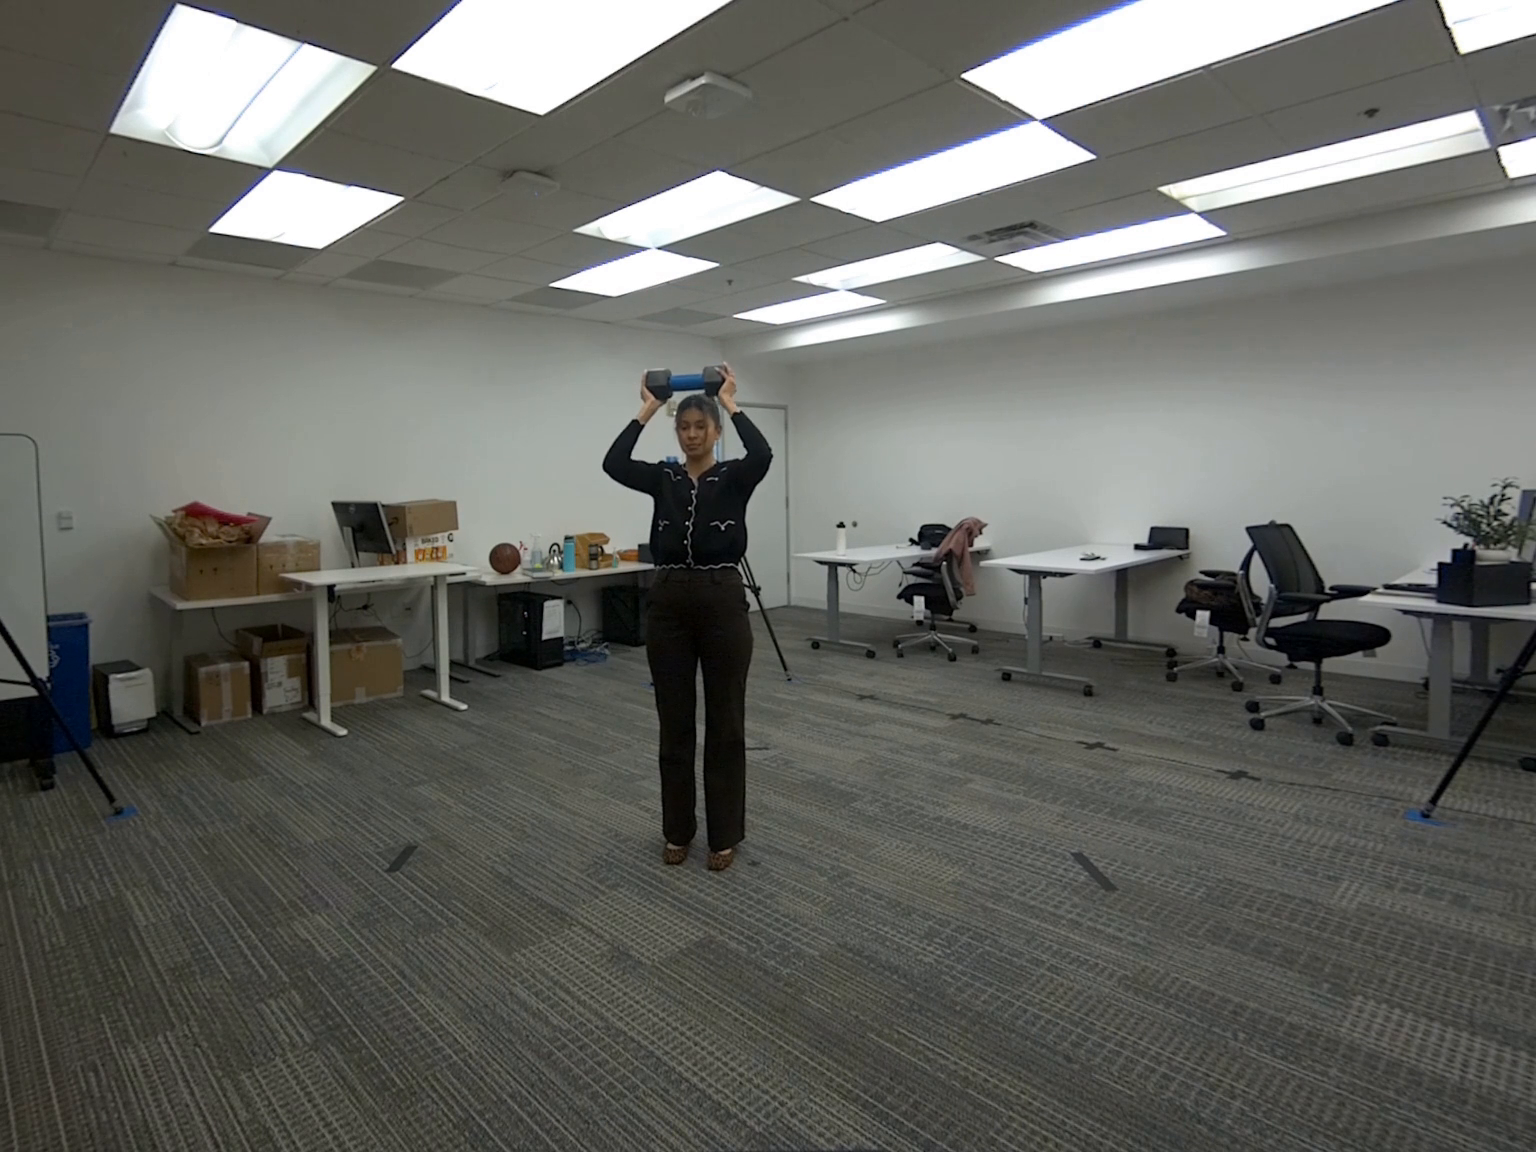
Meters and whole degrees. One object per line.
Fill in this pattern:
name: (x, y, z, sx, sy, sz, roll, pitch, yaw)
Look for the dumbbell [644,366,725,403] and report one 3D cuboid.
dumbbell: (-0.301, -0.693, 3.075, 0.296, 0.107, 0.123, -1, 13, 9)
